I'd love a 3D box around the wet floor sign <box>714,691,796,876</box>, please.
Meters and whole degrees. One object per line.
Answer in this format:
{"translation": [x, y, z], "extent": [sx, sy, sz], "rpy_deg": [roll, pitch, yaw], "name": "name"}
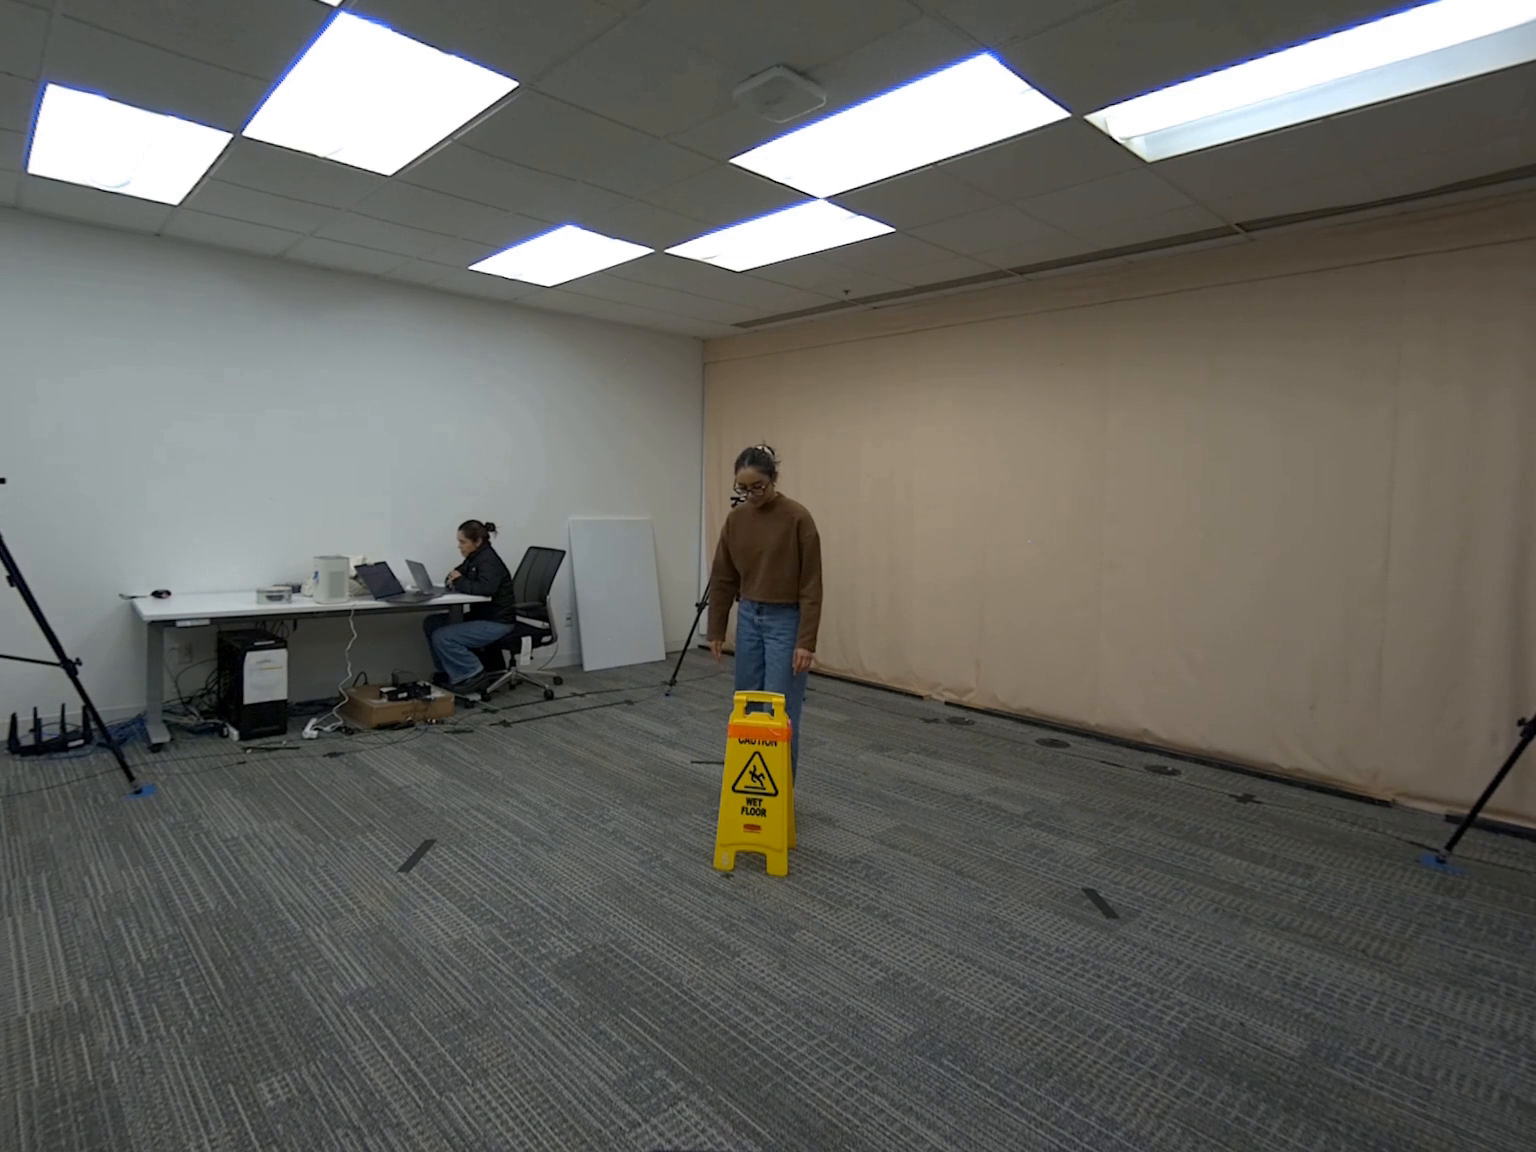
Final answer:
{"translation": [-0.058, 0.777, 3.259], "extent": [0.285, 0.645, 0.288], "rpy_deg": [2, 3, 10], "name": "wet floor sign"}
